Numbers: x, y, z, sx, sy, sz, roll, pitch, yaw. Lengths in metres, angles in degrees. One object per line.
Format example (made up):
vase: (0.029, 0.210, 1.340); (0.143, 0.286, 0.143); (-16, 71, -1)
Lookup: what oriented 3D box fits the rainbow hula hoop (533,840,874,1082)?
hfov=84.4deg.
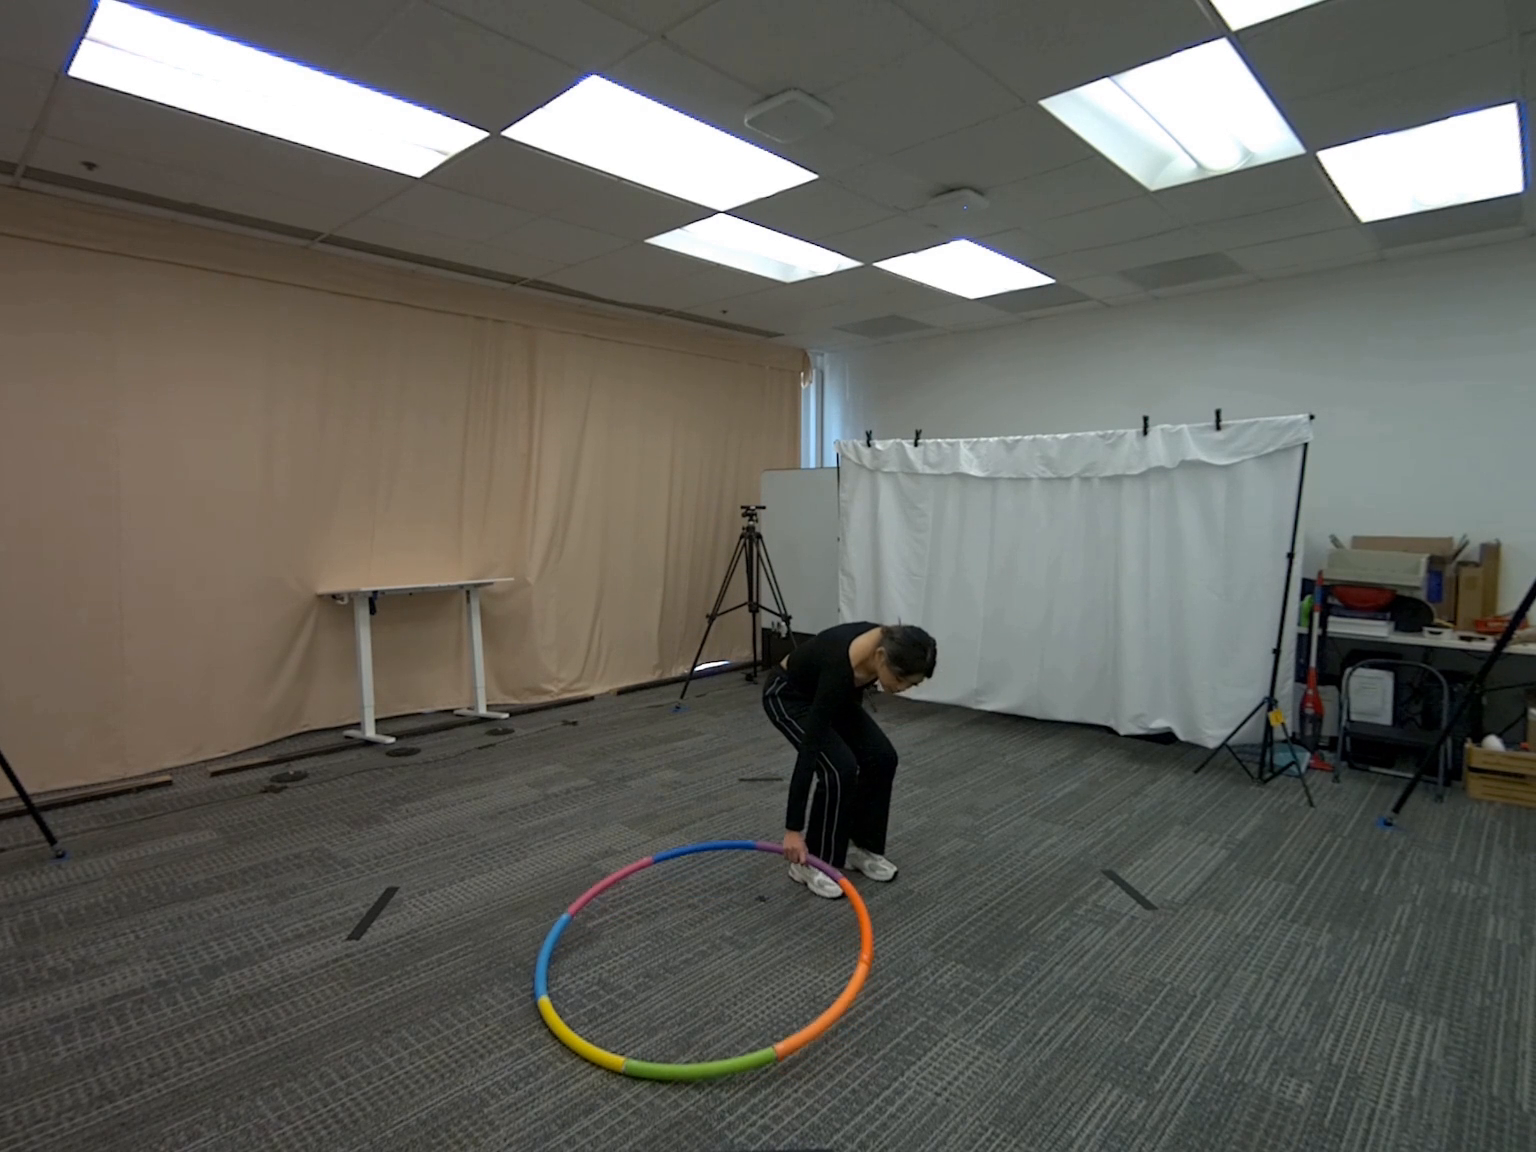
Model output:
rainbow hula hoop: (-0.187, 1.064, 2.482); (0.979, 0.035, 0.988); (-7, 15, 0)
